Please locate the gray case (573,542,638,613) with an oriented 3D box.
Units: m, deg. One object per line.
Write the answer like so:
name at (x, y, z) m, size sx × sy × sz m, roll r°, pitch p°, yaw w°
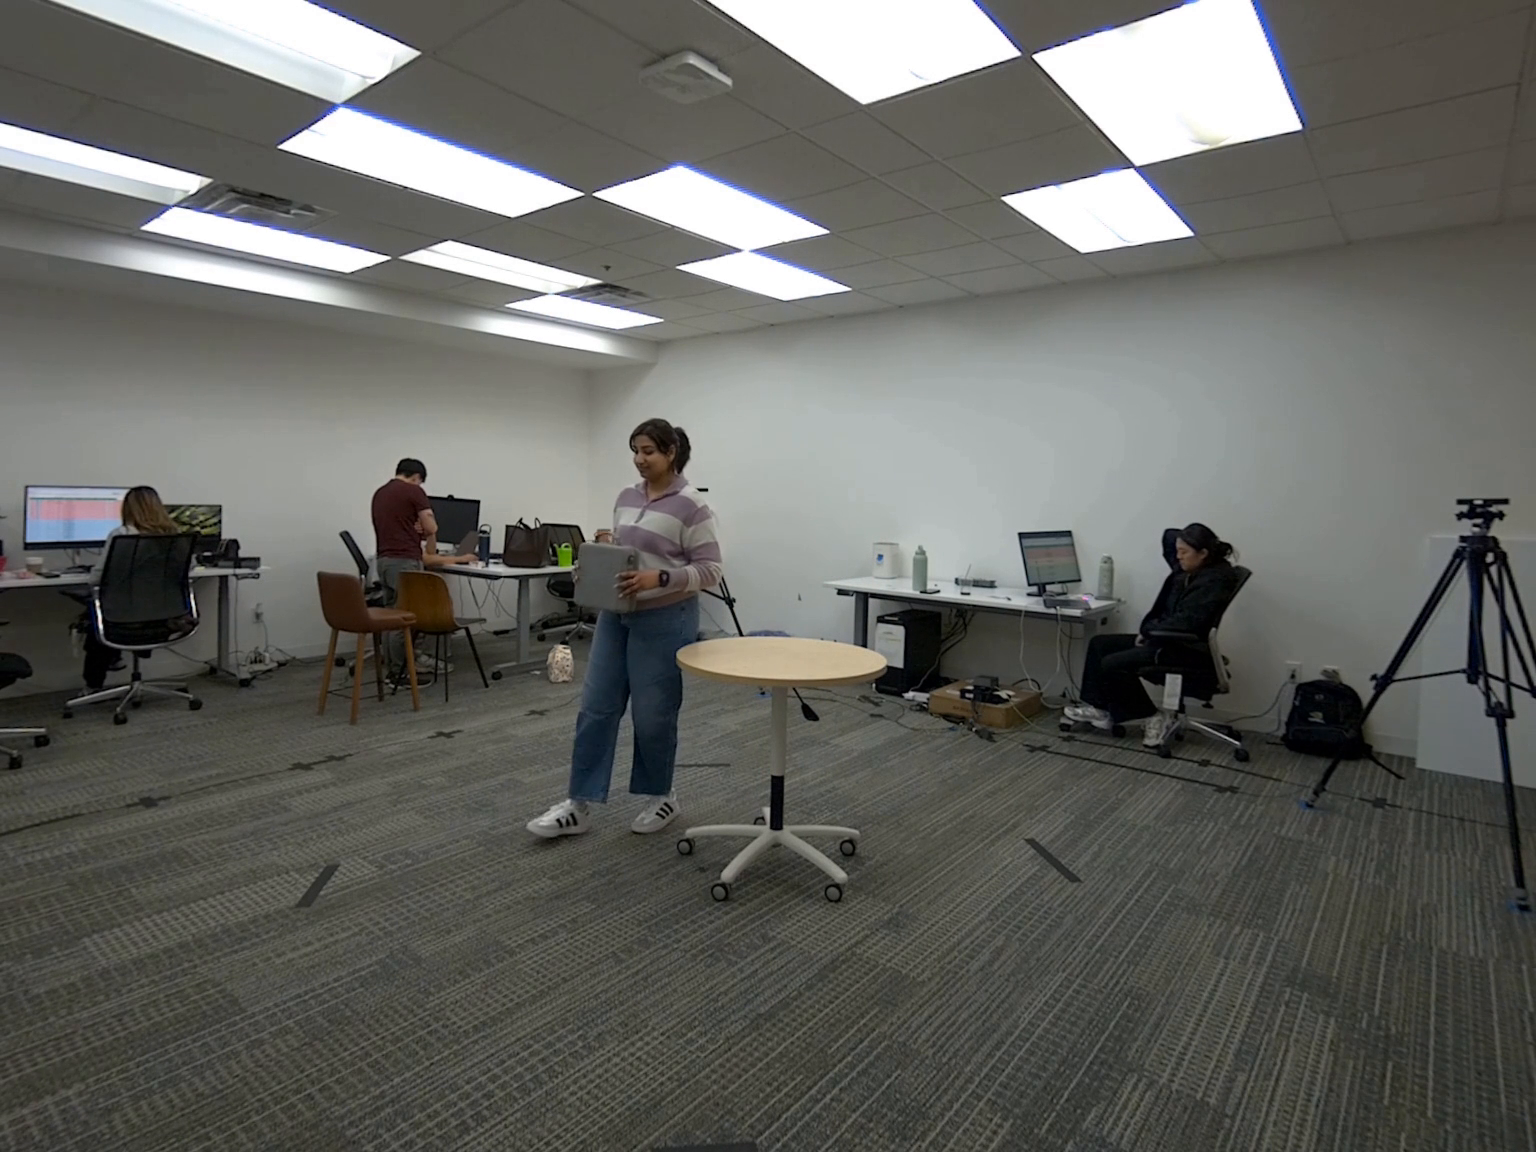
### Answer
gray case at (-0.628, -0.004, 3.231) m, size 0.266 × 0.259 × 0.101 m, roll 6°, pitch 6°, yaw 38°
